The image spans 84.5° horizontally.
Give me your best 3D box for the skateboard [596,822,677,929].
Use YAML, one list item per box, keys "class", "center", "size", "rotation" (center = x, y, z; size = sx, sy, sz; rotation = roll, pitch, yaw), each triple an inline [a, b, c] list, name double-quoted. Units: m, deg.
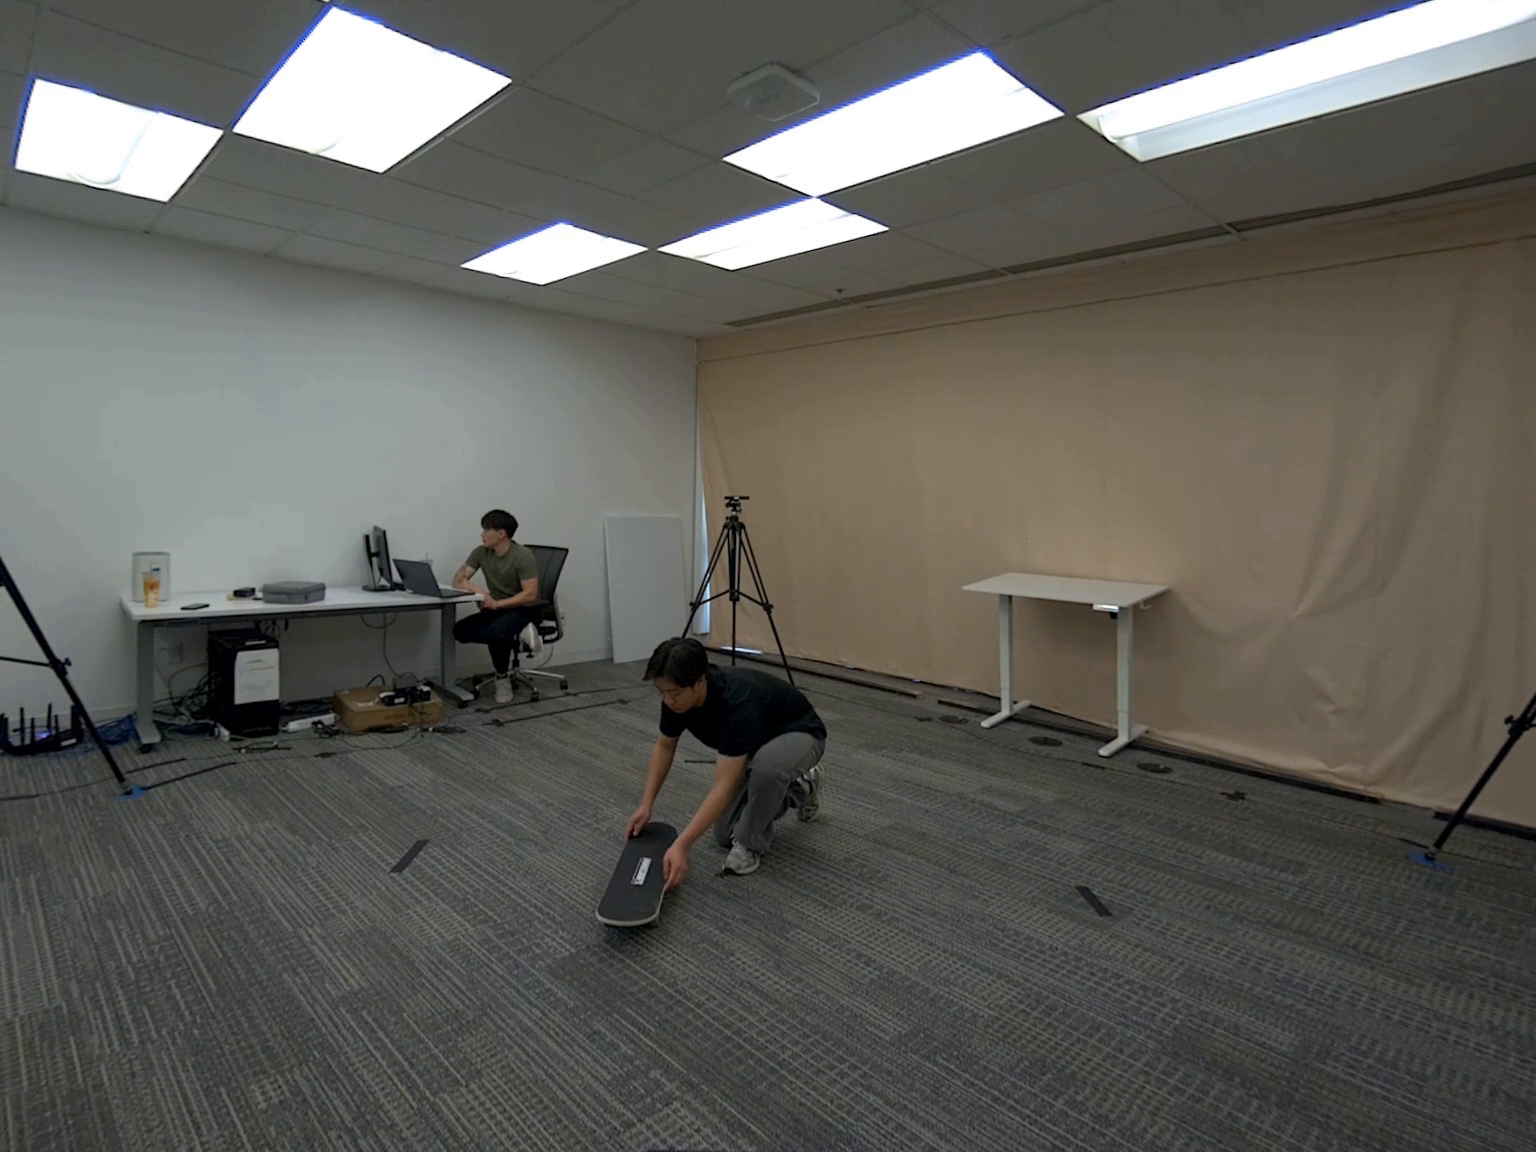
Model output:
- class: "skateboard"
  center: [-0.442, 1.051, 2.931]
  size: [0.194, 0.110, 0.786]
  rotation: [1, 5, 1]
